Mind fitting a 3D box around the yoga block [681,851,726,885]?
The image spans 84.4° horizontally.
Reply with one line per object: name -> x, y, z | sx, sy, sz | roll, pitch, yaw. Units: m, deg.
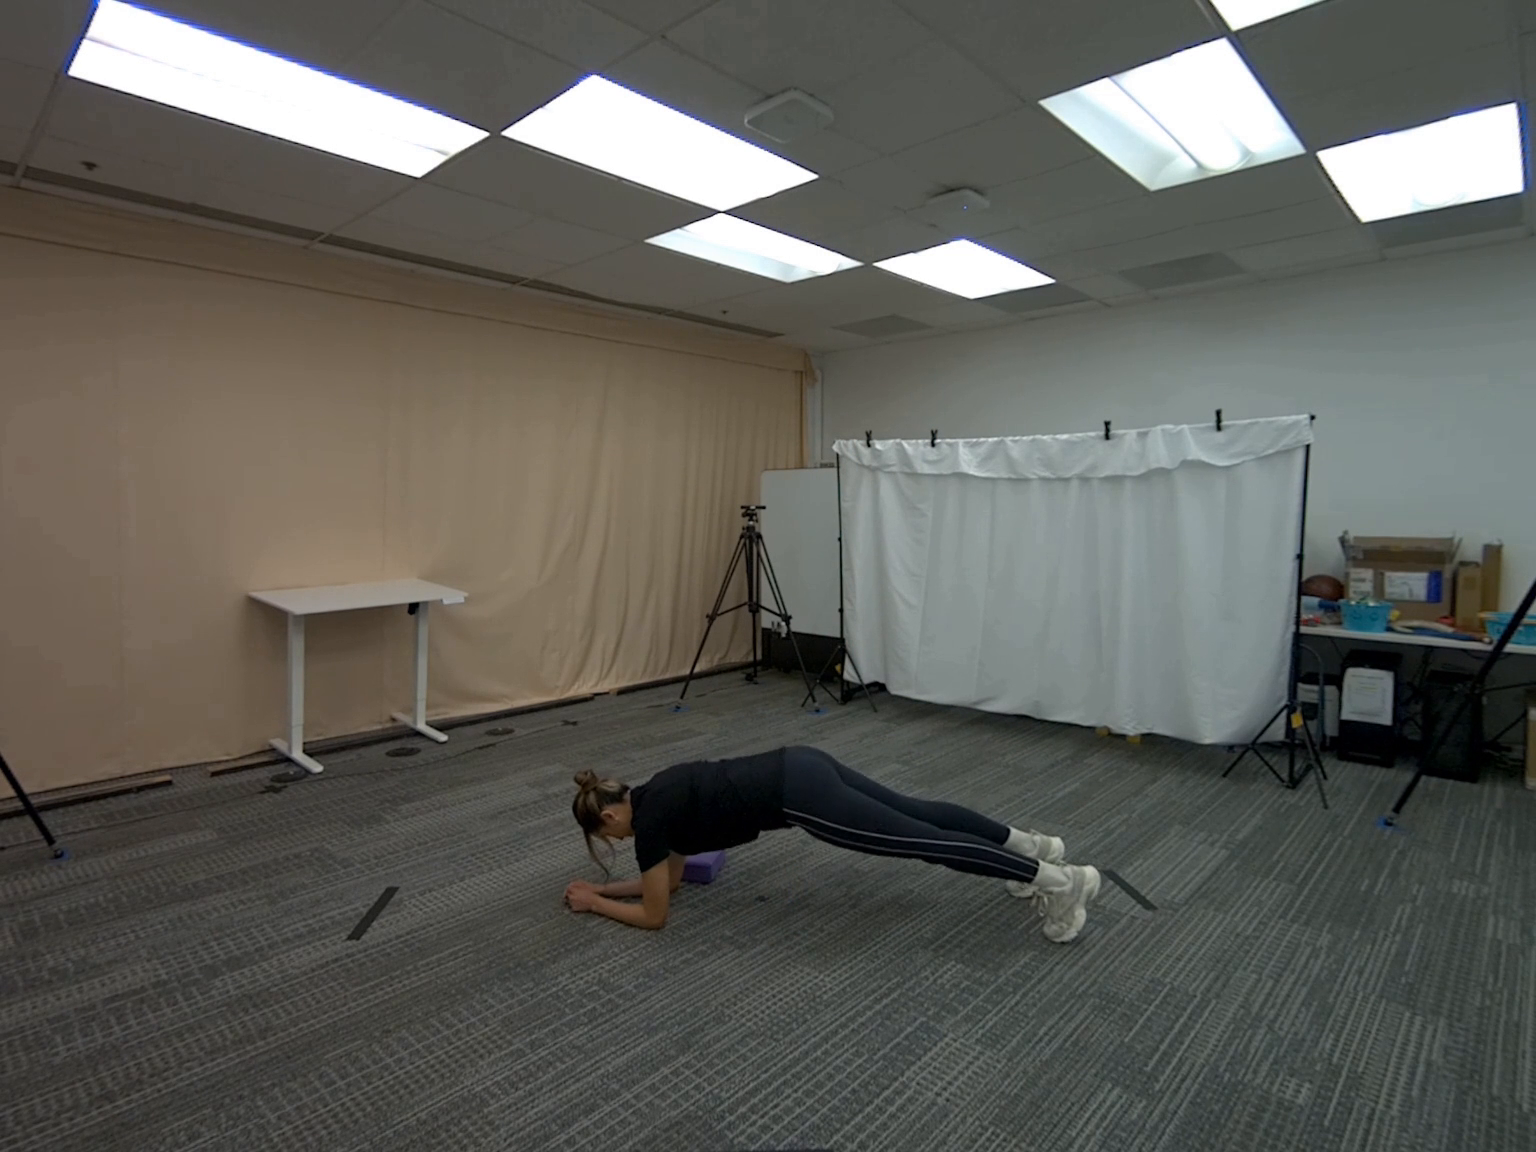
yoga block -> -0.255, 1.085, 3.215 | 0.151, 0.076, 0.226 | 0, 4, 13
